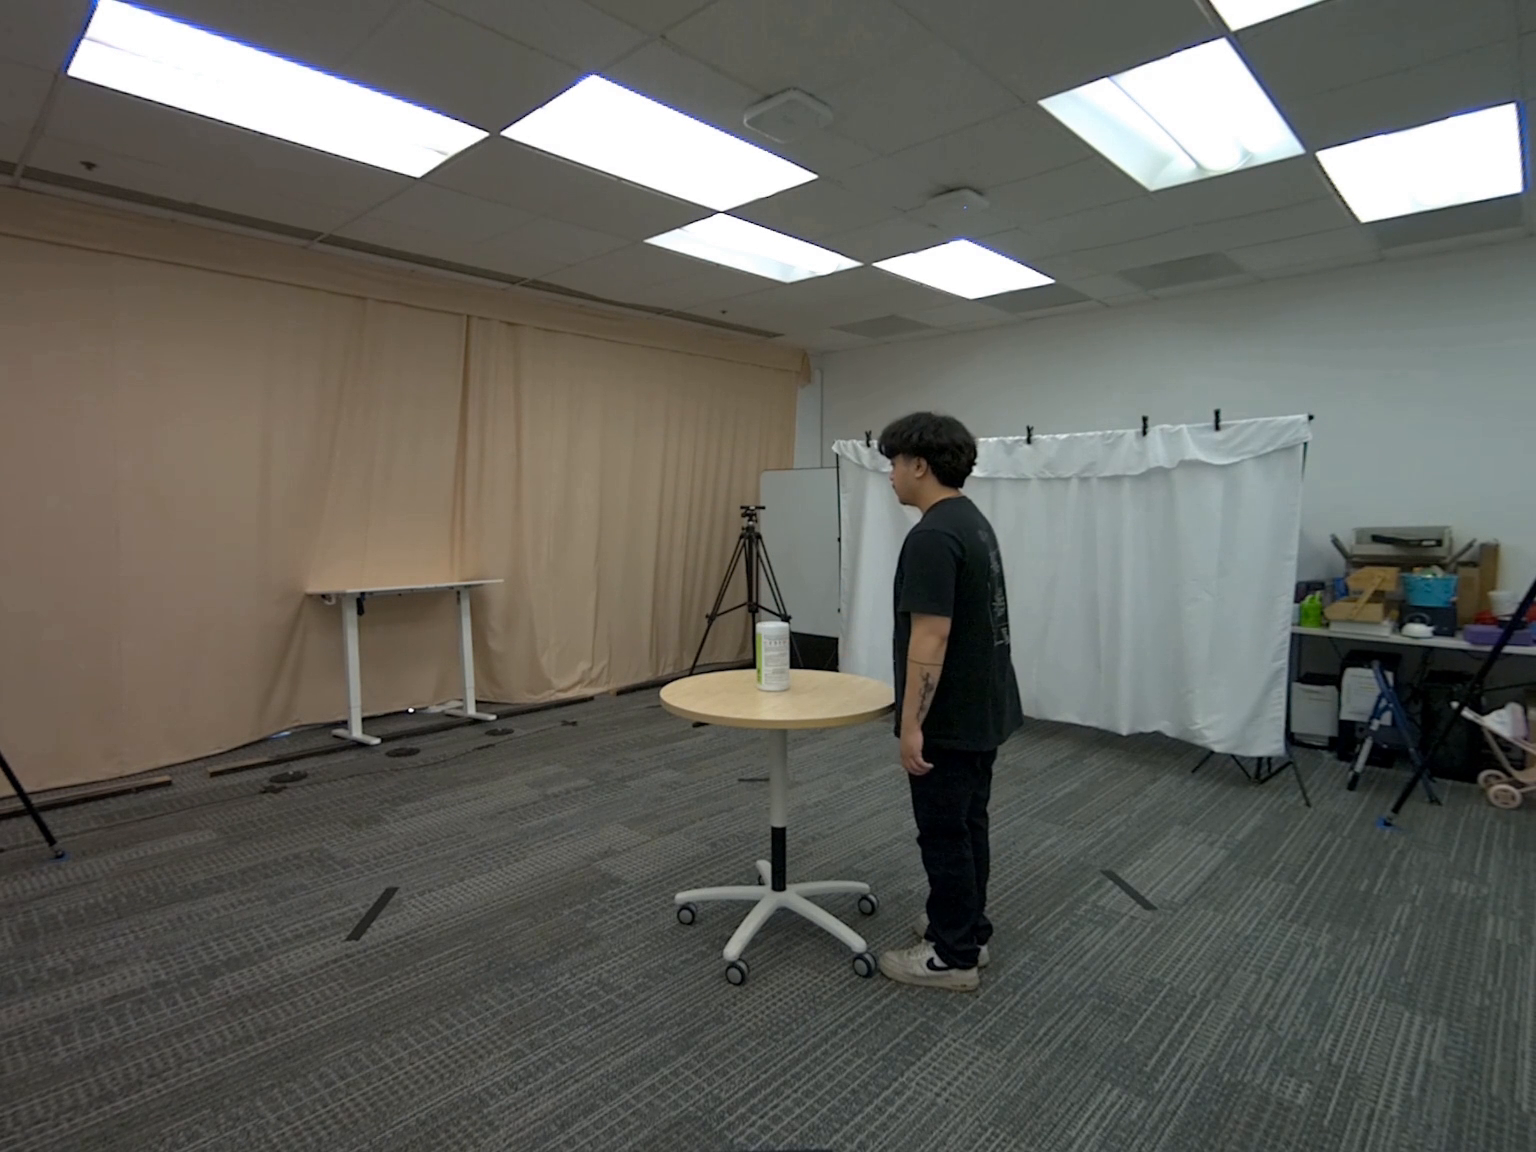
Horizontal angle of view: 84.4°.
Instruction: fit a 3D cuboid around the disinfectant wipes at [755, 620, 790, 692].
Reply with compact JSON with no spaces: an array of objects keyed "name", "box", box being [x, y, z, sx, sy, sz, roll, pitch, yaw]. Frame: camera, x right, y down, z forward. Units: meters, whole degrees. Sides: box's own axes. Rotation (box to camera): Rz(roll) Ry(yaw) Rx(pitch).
[{"name":"disinfectant wipes","box":[0.020,0.265,2.754,0.118,0.217,0.118,-1,2,-2]}]
